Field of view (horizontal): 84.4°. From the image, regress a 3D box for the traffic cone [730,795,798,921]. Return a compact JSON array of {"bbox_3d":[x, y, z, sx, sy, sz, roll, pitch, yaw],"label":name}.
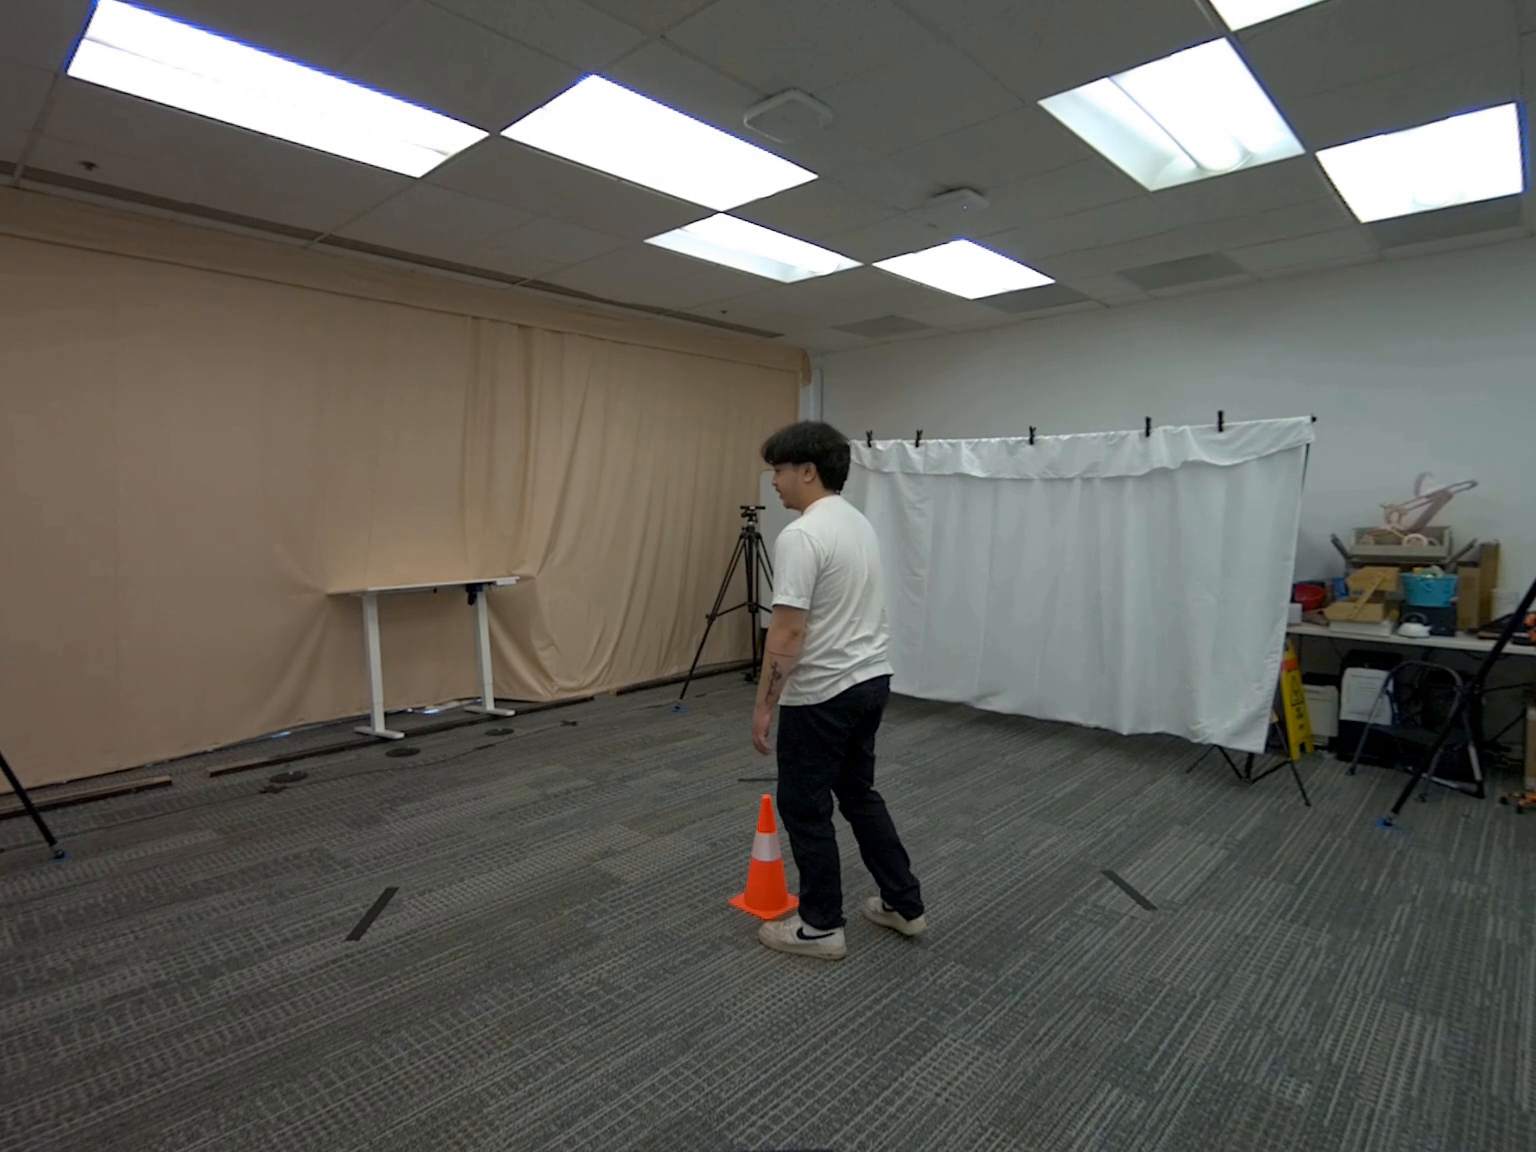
[{"bbox_3d":[-0.005,0.962,2.949,0.210,0.382,0.199,3,5,37],"label":"traffic cone"}]
